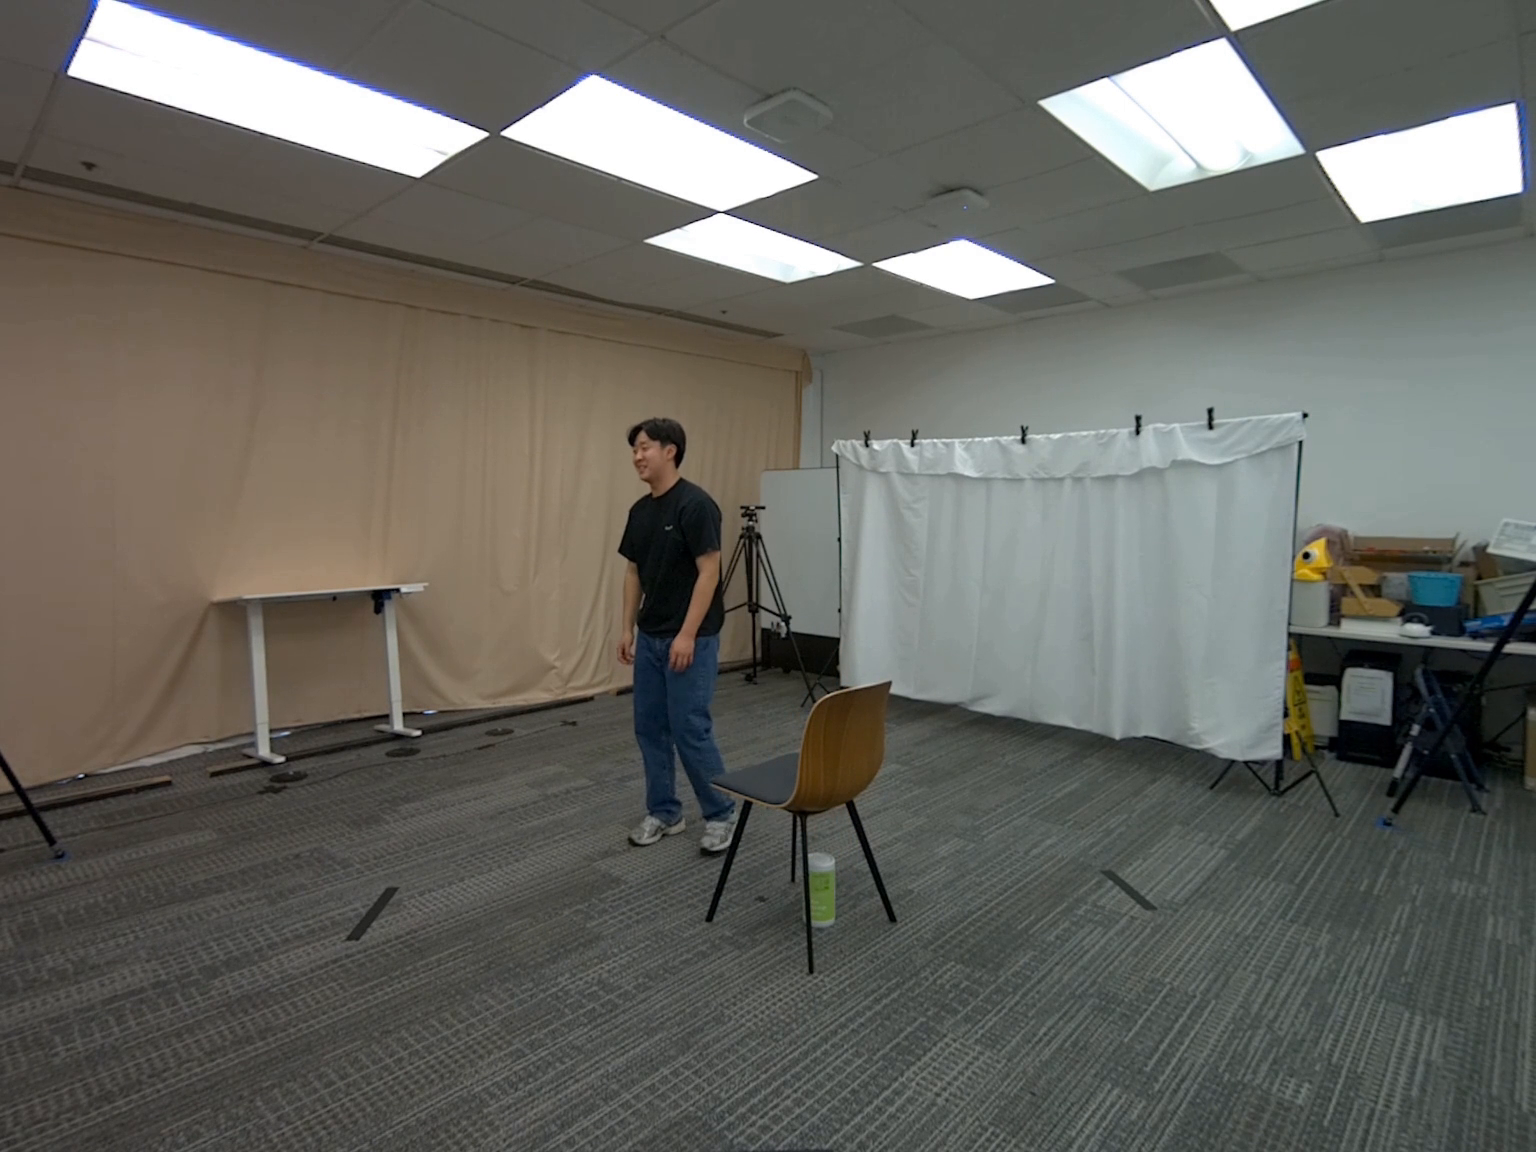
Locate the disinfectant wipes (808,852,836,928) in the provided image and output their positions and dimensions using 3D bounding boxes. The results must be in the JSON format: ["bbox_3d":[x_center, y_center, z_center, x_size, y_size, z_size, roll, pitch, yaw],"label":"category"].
[{"bbox_3d":[0.174,1.049,2.817,0.118,0.217,0.118,0,3,-2],"label":"disinfectant wipes"}]
